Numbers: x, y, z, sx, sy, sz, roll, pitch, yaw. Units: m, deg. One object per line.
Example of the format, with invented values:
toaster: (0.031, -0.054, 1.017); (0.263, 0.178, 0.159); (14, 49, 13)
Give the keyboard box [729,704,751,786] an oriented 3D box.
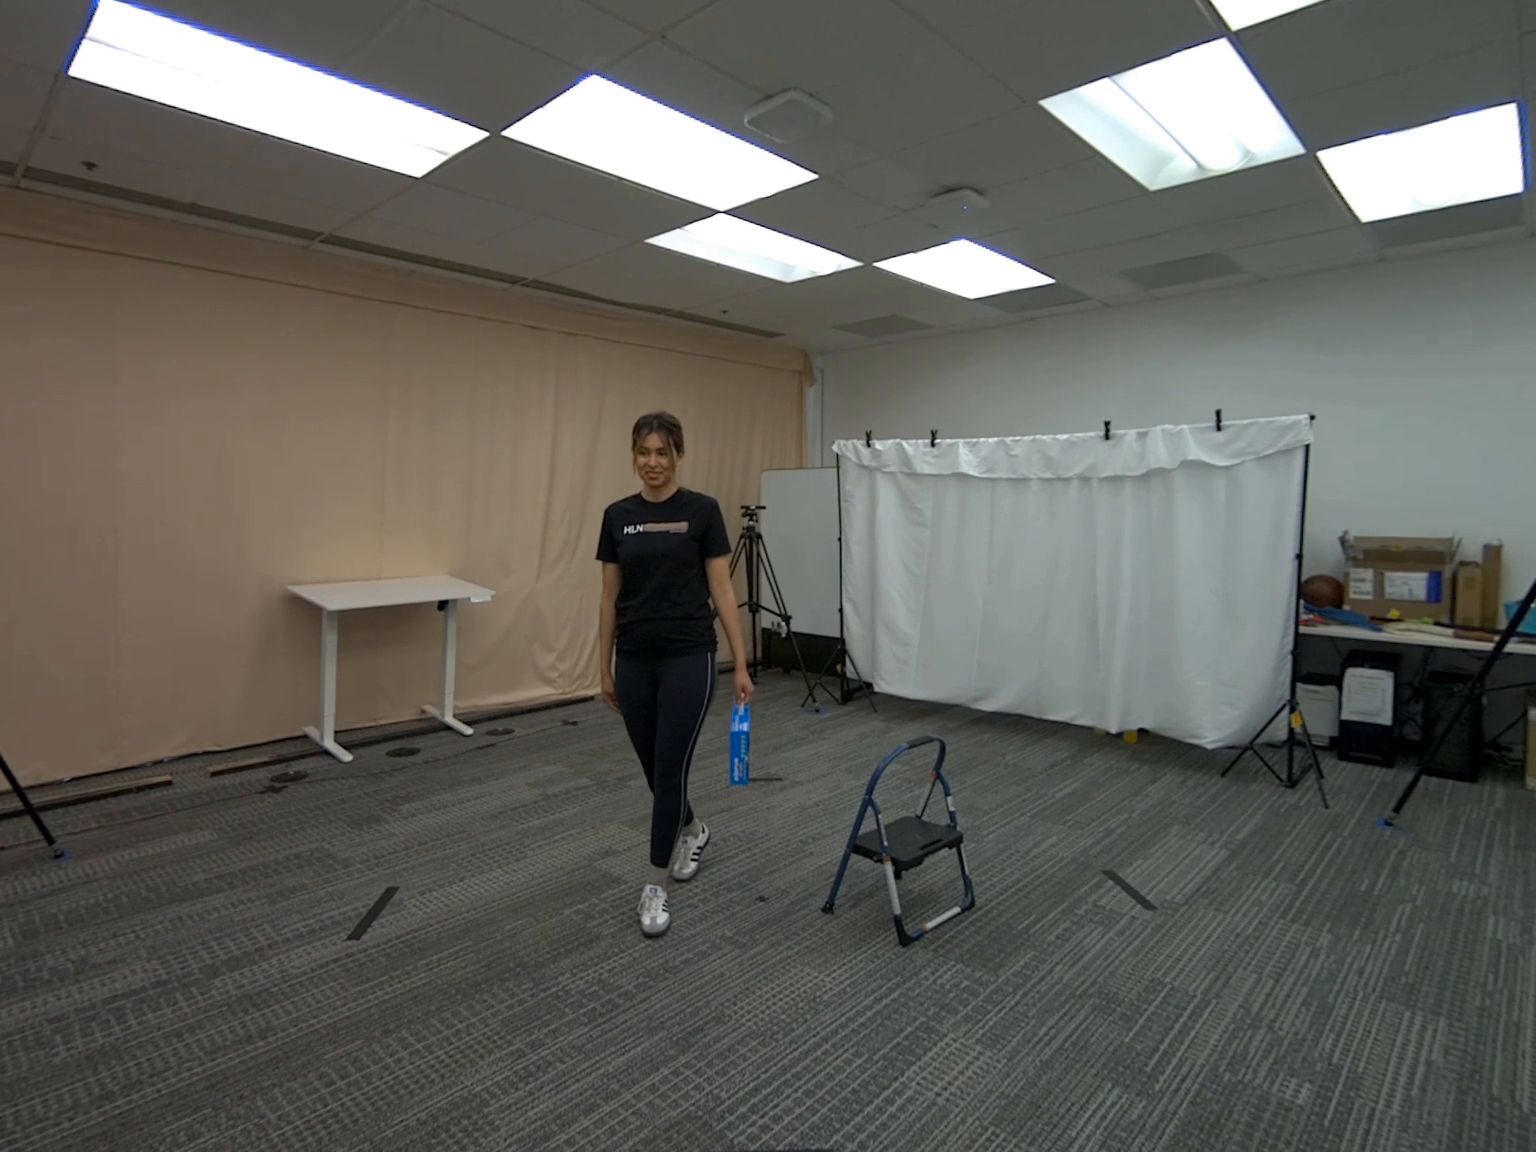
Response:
keyboard box: (-0.086, 0.530, 2.818); (0.059, 0.175, 0.438); (0, 7, -1)
